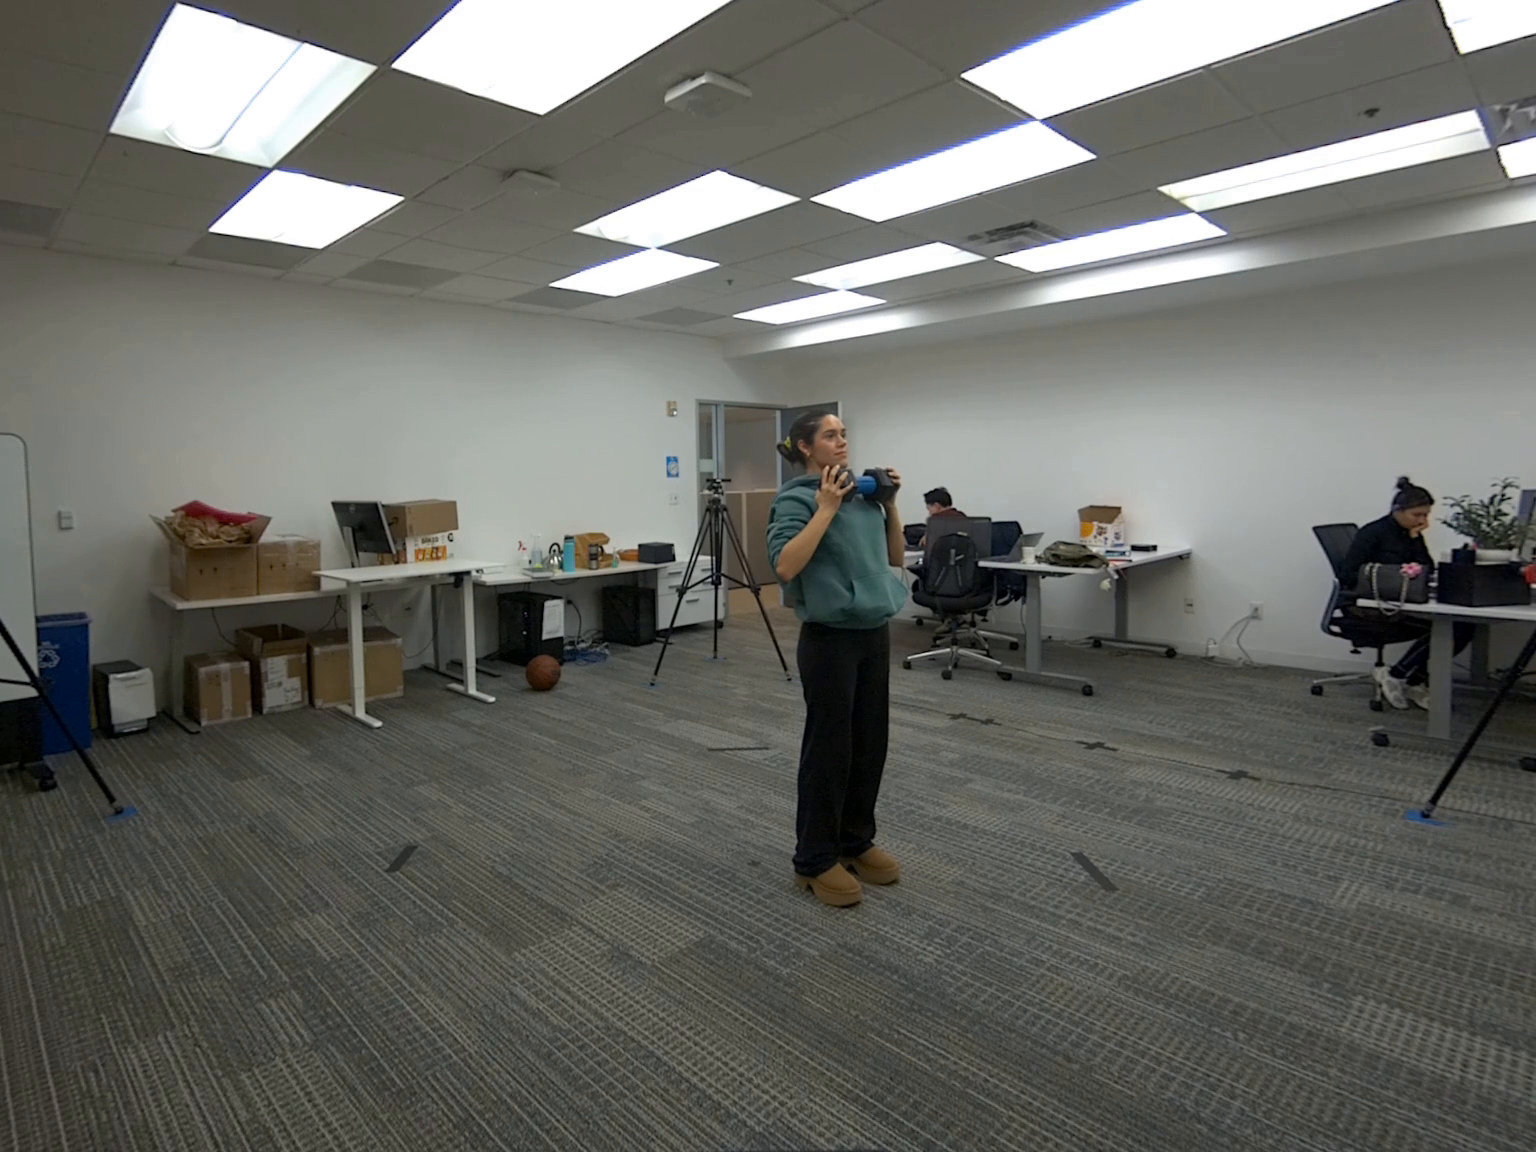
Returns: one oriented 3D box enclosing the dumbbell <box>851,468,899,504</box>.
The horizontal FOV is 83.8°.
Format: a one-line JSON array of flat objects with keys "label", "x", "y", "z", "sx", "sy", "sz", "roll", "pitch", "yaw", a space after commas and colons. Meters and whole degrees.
[{"label": "dumbbell", "x": 0.287, "y": -0.298, "z": 2.815, "sx": 0.286, "sy": 0.121, "sz": 0.113, "roll": -7, "pitch": 38, "yaw": -44}]
